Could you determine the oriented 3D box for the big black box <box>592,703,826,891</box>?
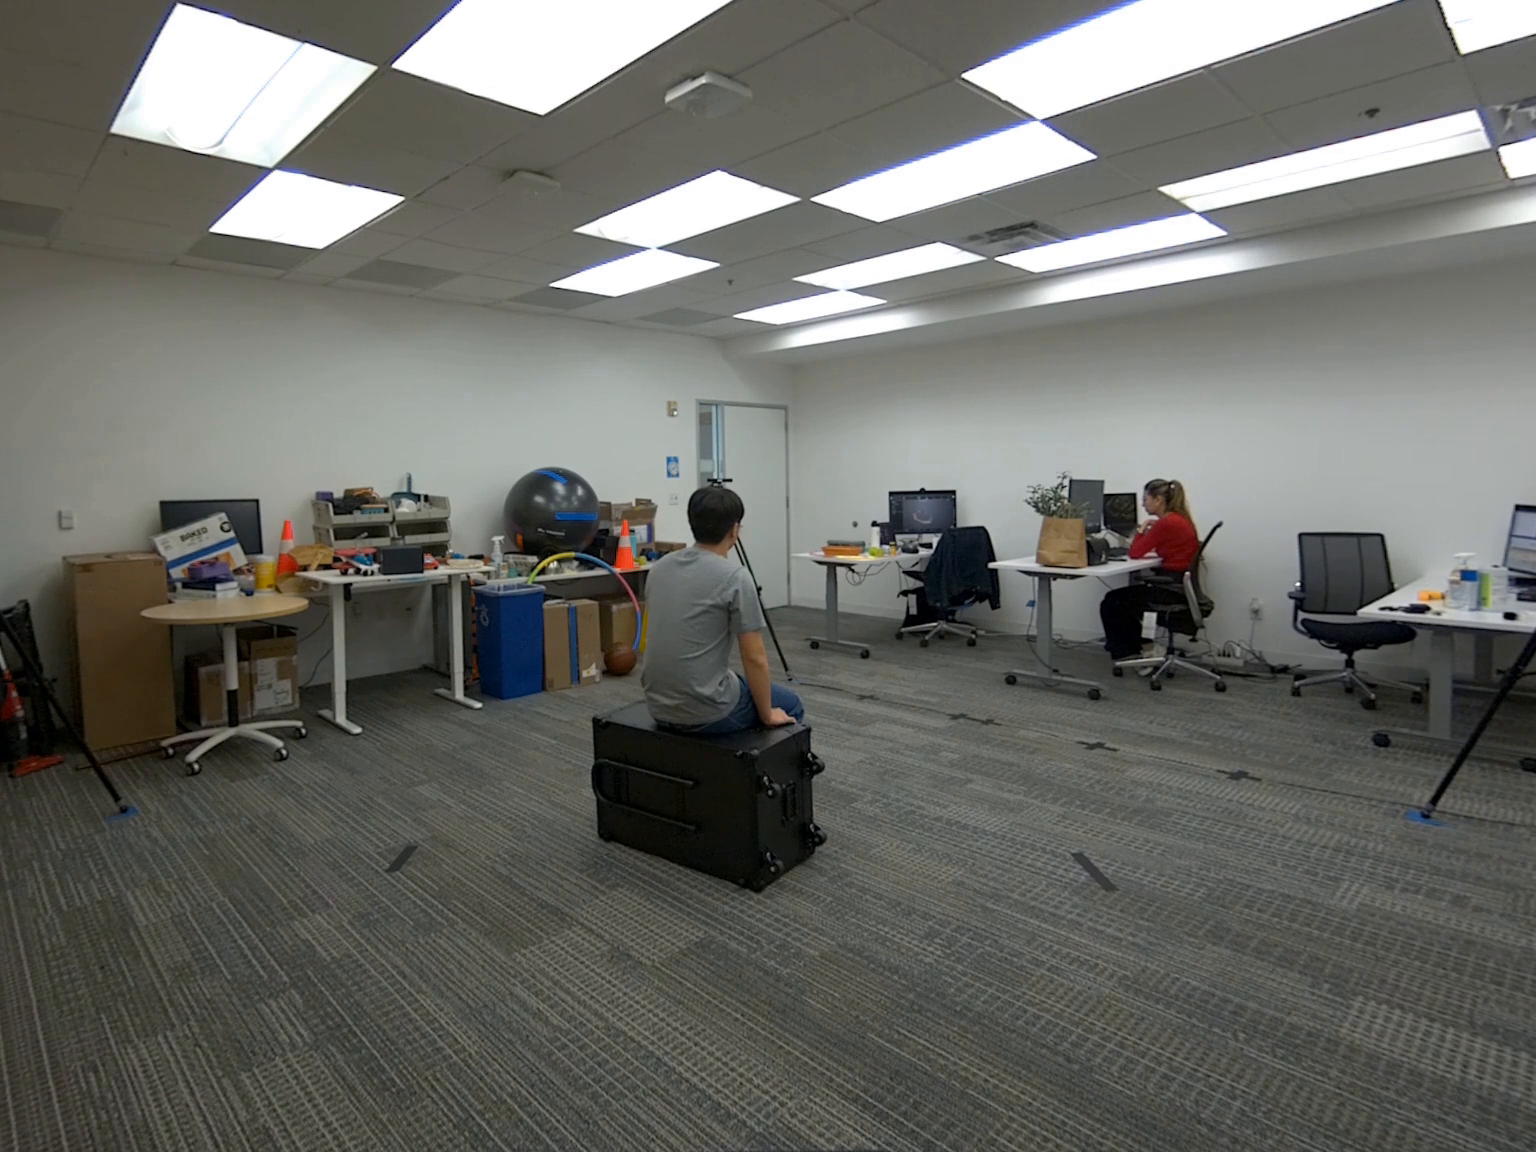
[{"bbox_3d":[-0.234,0.784,3.208,0.886,0.518,0.387,3,8,36],"label":"big black box"}]
